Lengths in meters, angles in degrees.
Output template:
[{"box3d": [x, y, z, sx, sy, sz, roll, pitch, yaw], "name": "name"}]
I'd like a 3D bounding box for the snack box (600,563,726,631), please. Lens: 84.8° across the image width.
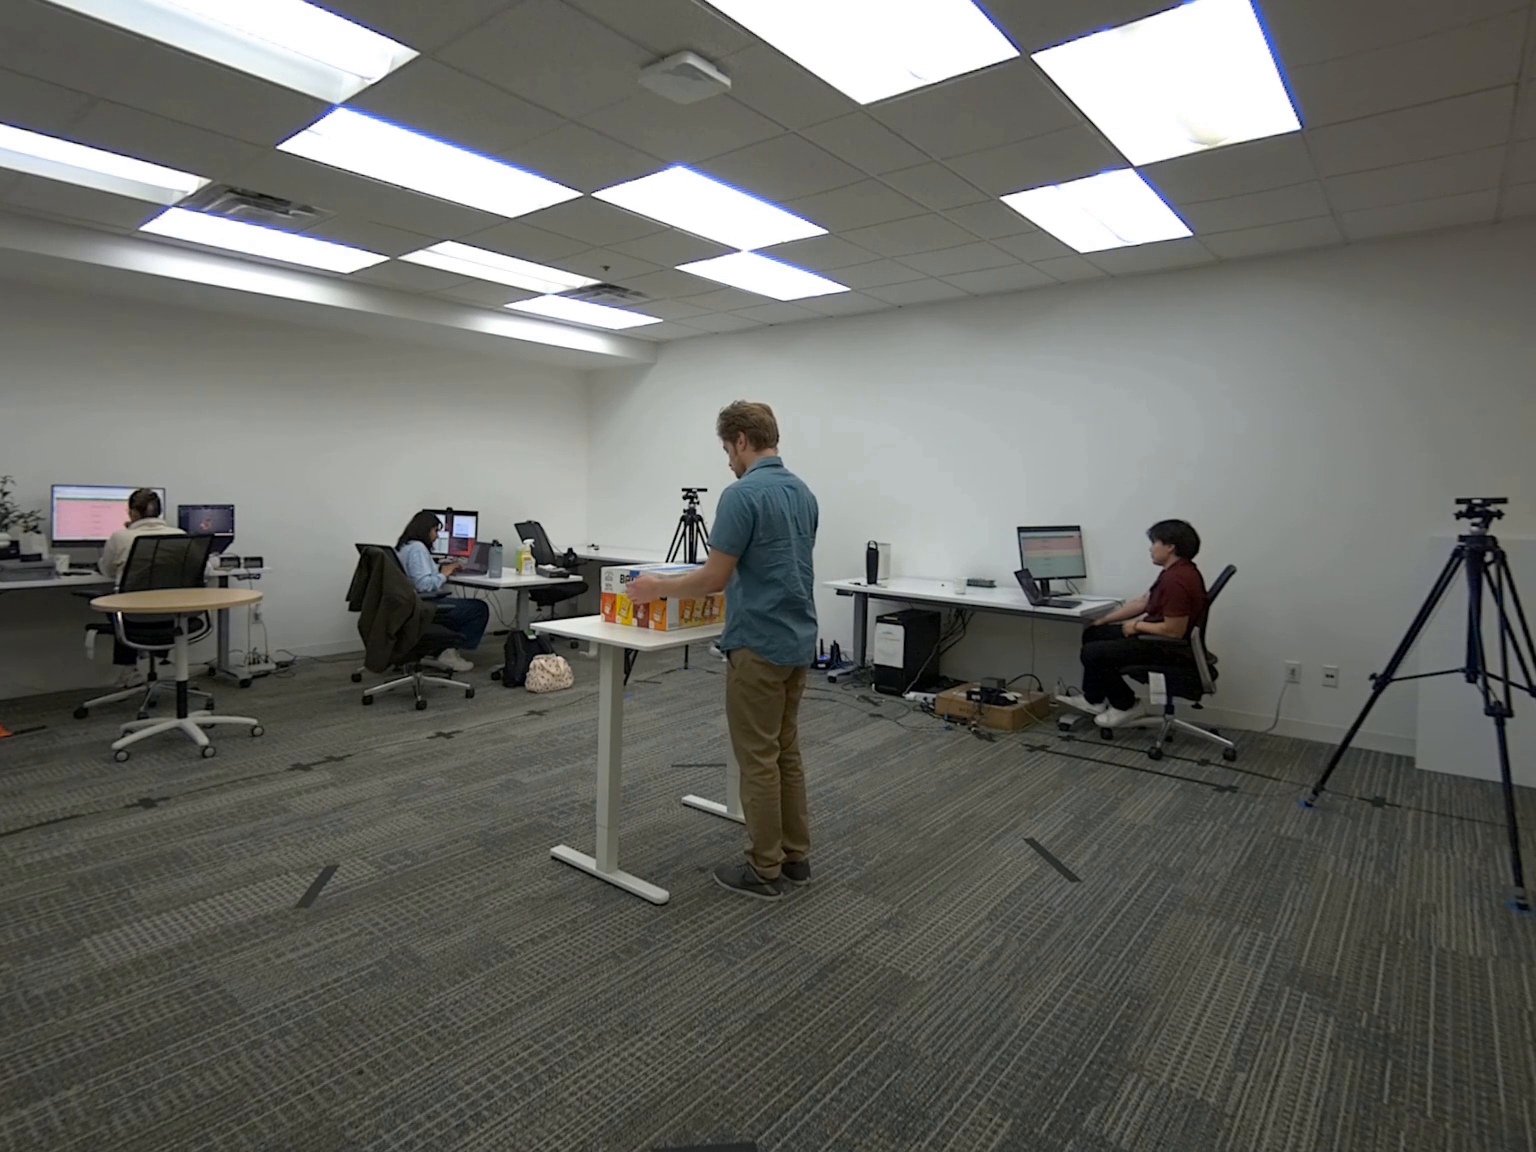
[{"box3d": [-0.393, 0.067, 3.258, 0.352, 0.205, 0.393, 6, 7, 36], "name": "snack box"}]
